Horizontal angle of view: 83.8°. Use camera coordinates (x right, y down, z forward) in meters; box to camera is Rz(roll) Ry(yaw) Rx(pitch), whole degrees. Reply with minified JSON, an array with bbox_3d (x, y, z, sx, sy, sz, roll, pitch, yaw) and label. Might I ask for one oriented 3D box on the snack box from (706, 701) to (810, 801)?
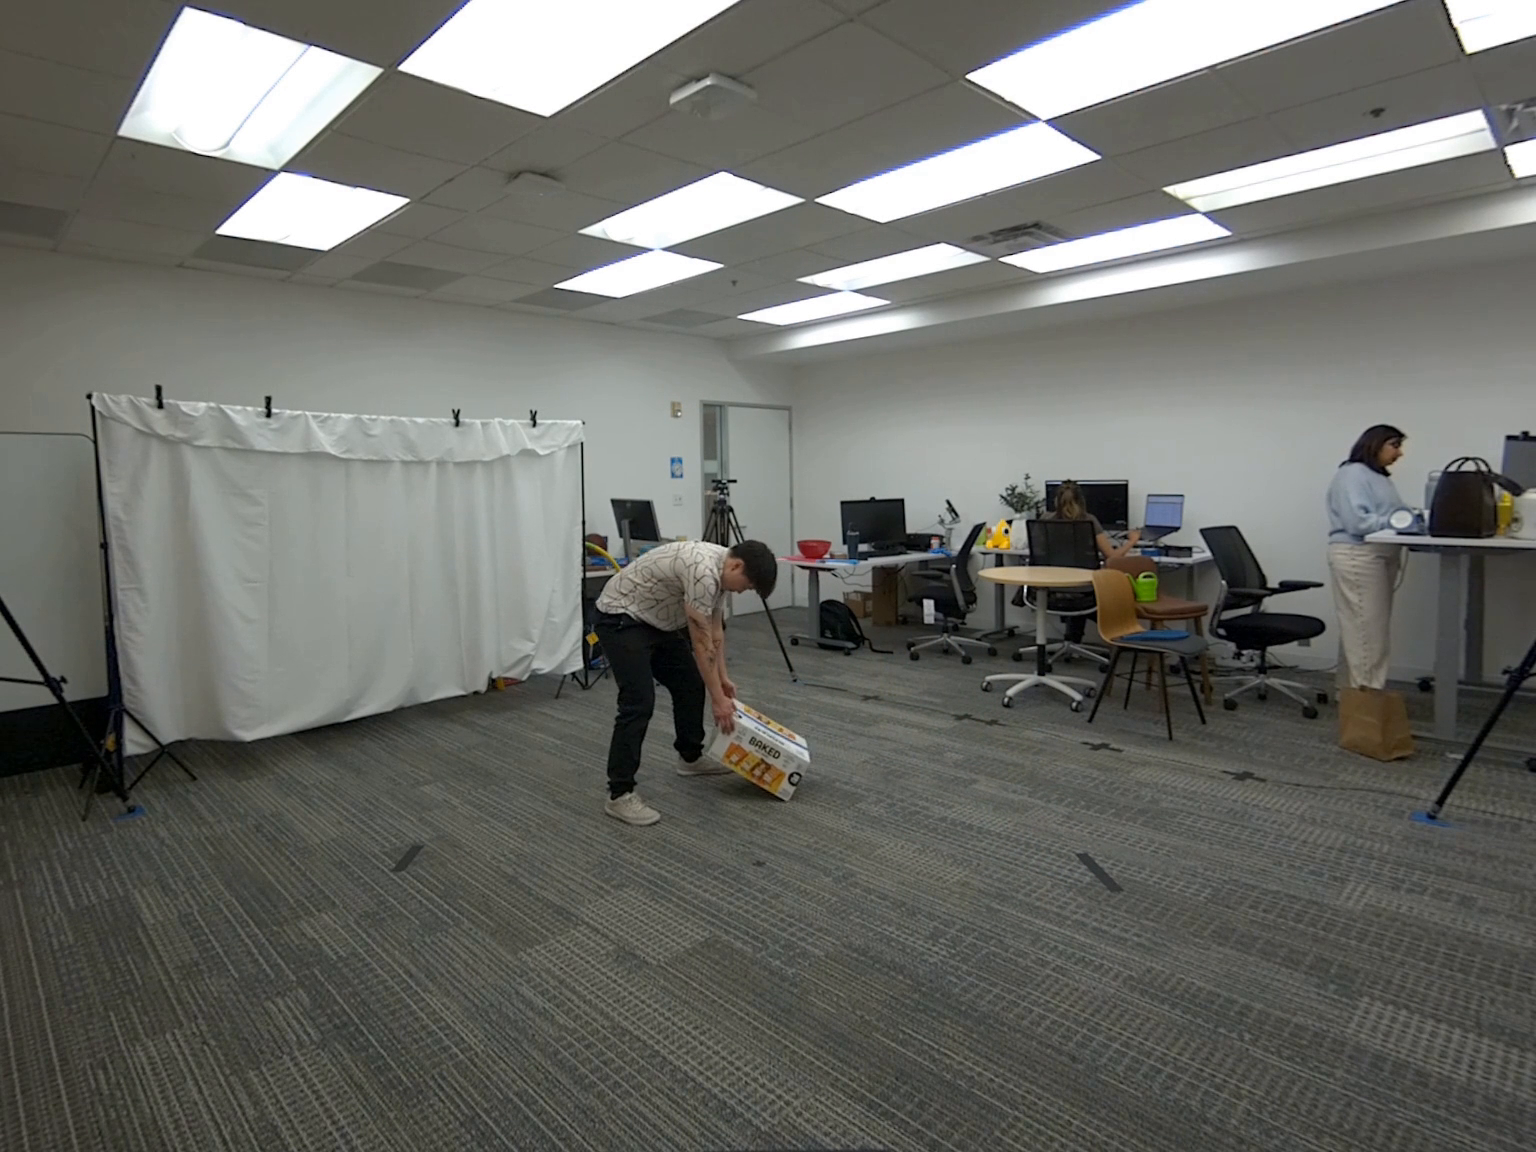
[{"bbox_3d":[-0.041,0.774,3.858,0.405,0.205,0.341,29,4,-2],"label":"snack box"}]
